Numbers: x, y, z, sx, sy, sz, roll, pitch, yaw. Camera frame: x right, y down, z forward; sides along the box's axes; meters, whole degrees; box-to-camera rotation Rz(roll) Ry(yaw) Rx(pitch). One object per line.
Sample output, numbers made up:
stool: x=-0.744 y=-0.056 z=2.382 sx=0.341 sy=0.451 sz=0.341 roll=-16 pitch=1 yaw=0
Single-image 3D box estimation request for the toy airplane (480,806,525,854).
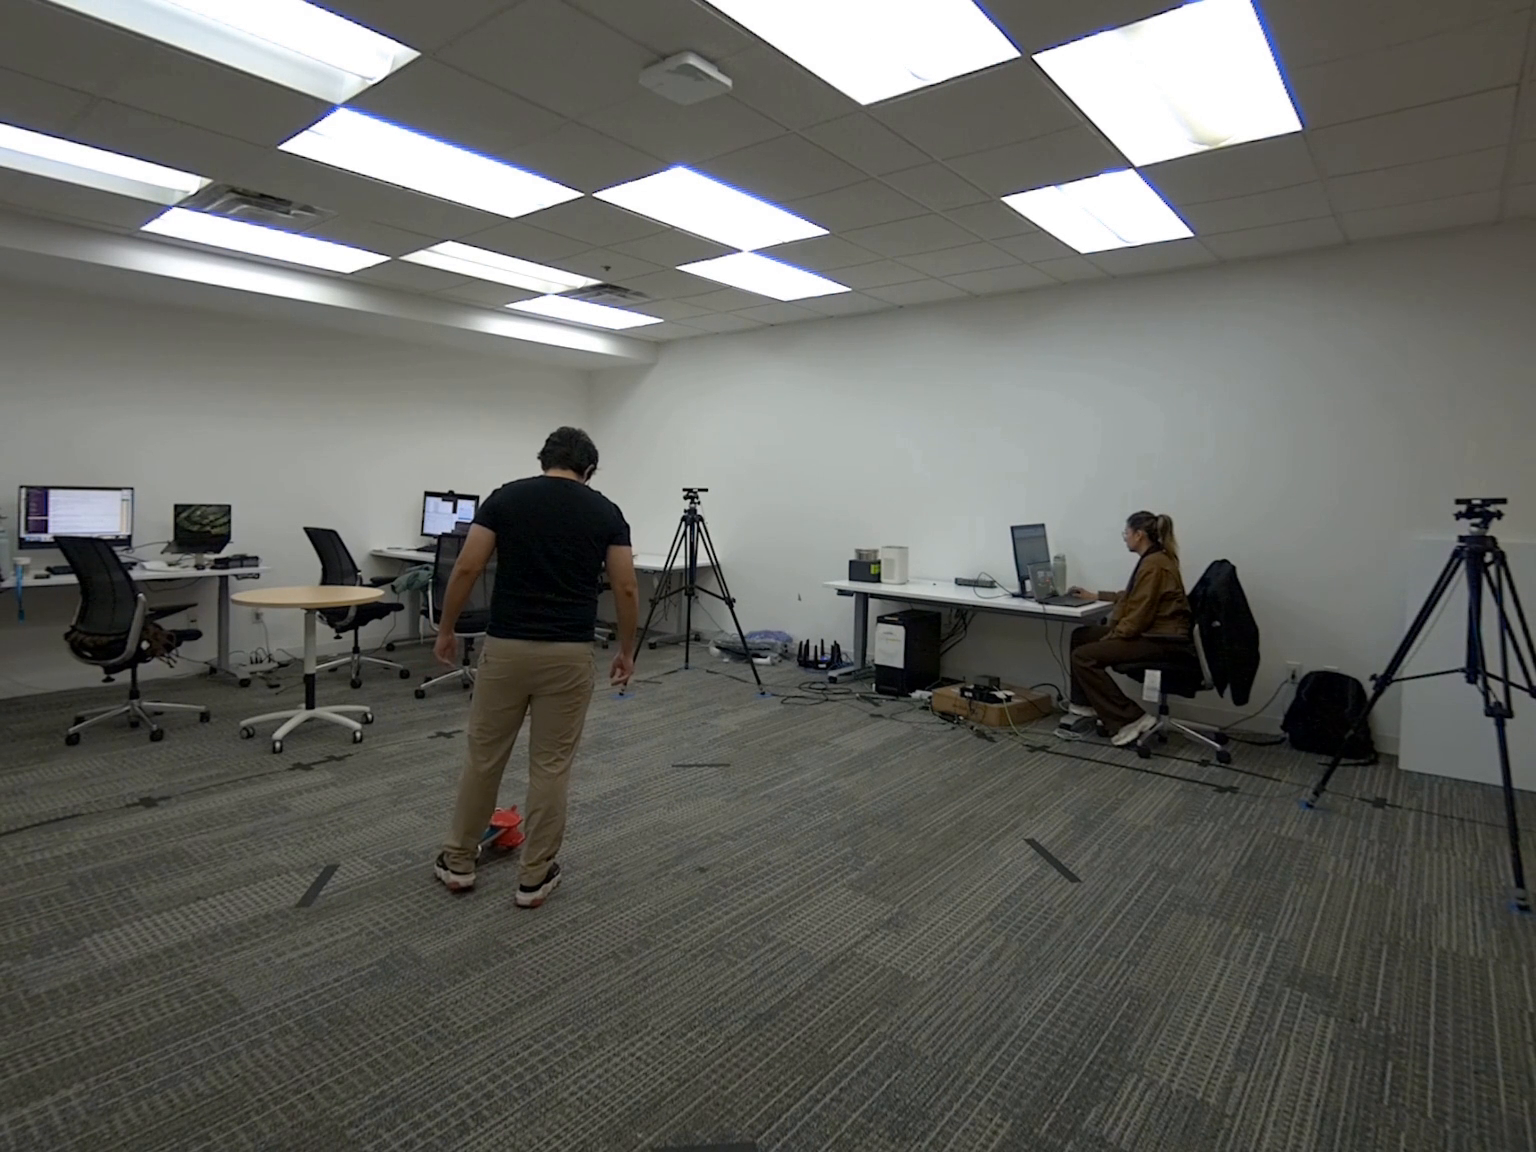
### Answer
toy airplane: x=-1.052 y=0.976 z=3.196 sx=0.251 sy=0.156 sz=0.259 roll=0 pitch=2 yaw=-1
